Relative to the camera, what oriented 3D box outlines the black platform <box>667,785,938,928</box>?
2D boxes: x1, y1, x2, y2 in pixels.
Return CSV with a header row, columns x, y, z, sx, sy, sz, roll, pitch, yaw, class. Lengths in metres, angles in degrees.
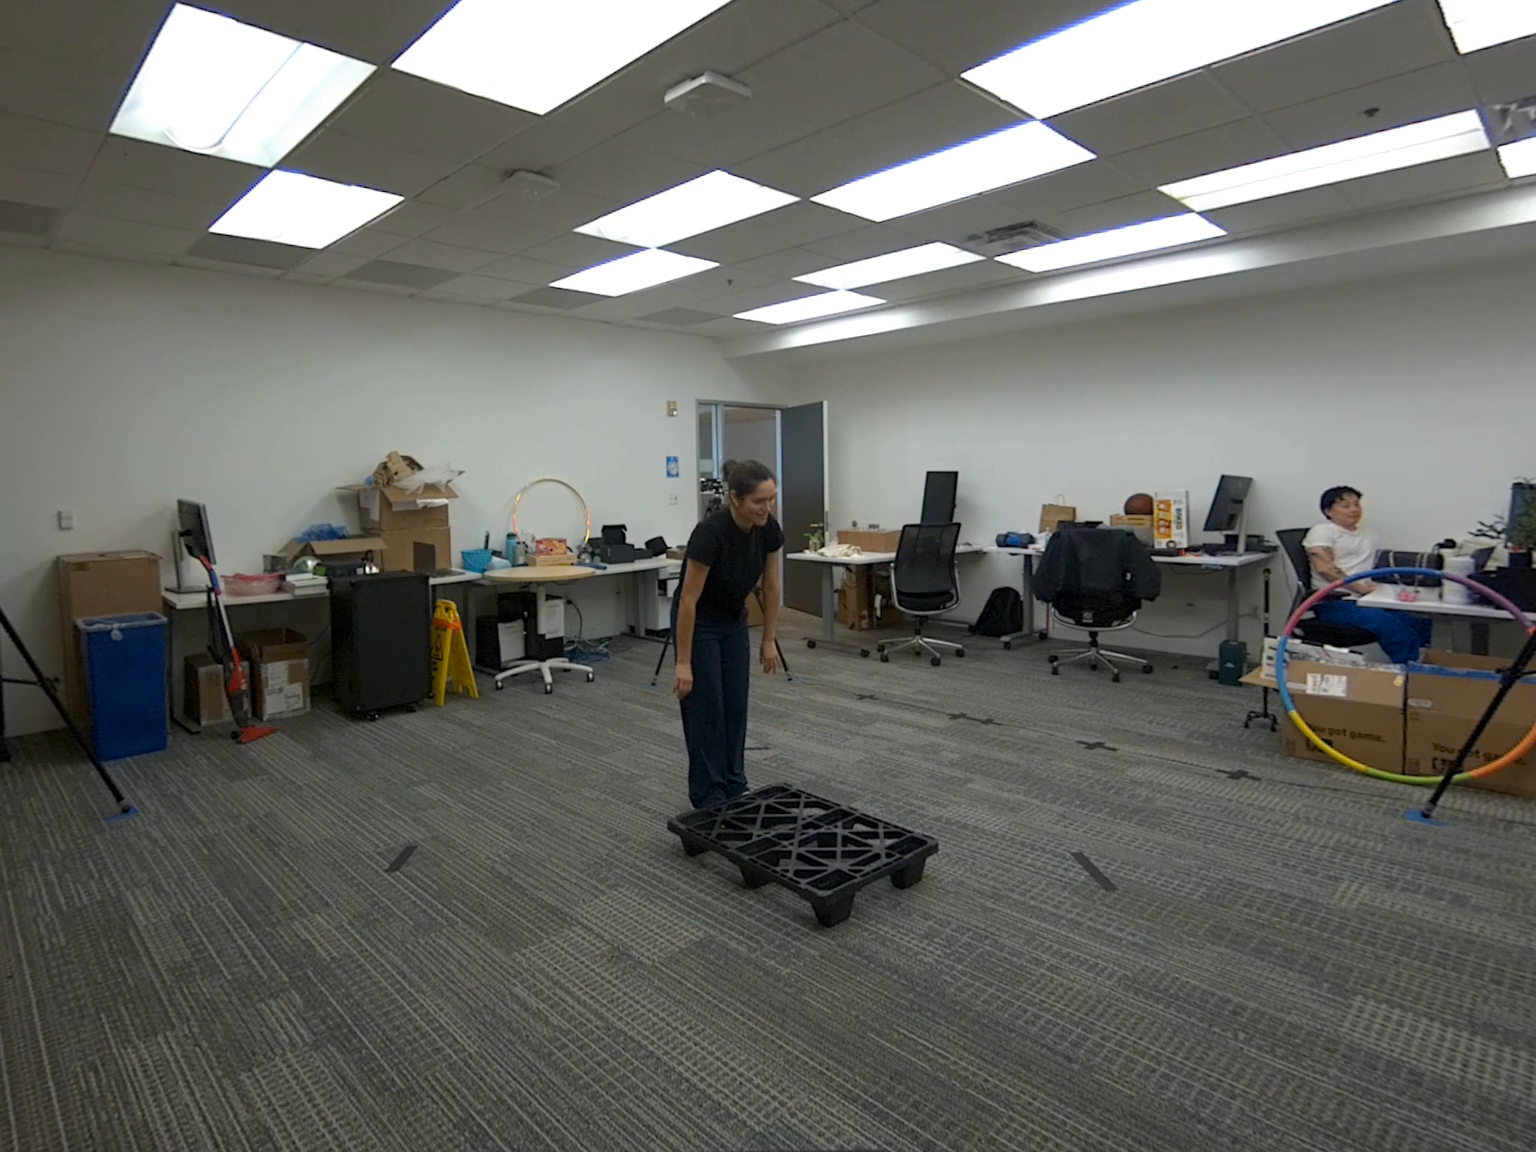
x,y,z,sx,sy,sz,roll,pitch,yaw,class
0.108,0.980,3.077,0.589,0.142,0.830,-7,9,-42,black platform
